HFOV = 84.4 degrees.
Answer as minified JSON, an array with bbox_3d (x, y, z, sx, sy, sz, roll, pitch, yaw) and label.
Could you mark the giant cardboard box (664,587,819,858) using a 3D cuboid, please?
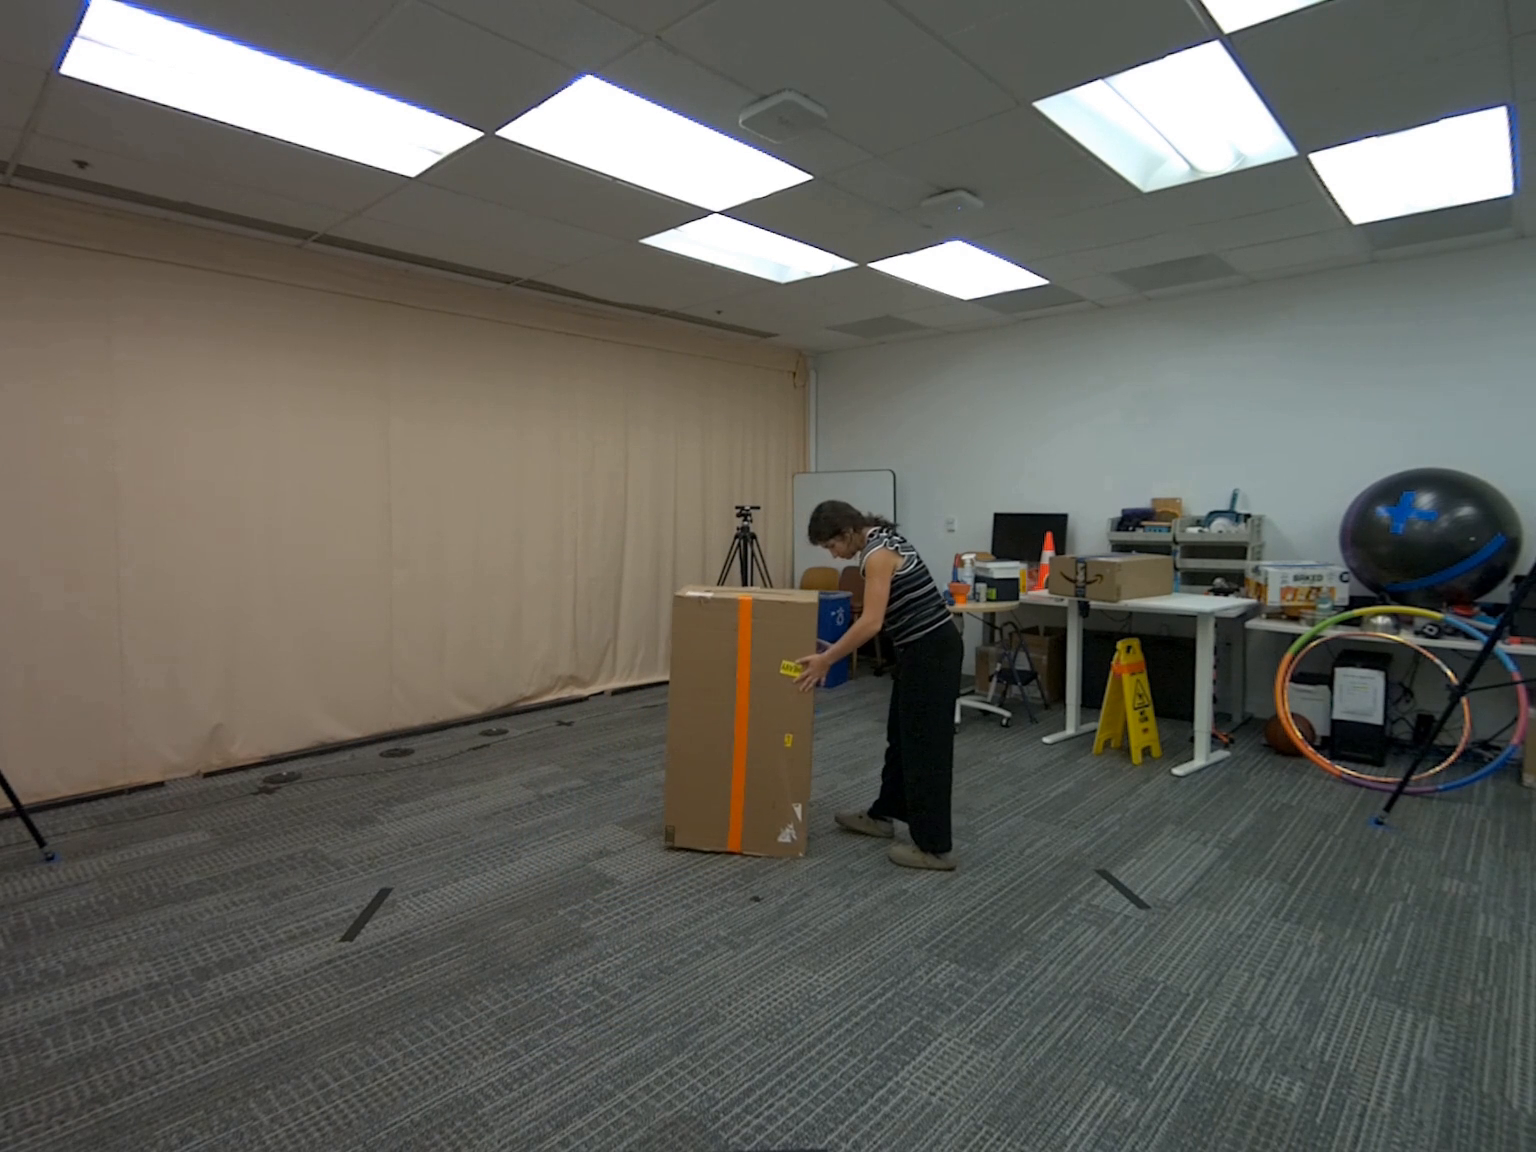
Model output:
[{"bbox_3d":[-0.096,0.579,3.534,0.582,1.024,0.424,3,3,6],"label":"giant cardboard box"}]
